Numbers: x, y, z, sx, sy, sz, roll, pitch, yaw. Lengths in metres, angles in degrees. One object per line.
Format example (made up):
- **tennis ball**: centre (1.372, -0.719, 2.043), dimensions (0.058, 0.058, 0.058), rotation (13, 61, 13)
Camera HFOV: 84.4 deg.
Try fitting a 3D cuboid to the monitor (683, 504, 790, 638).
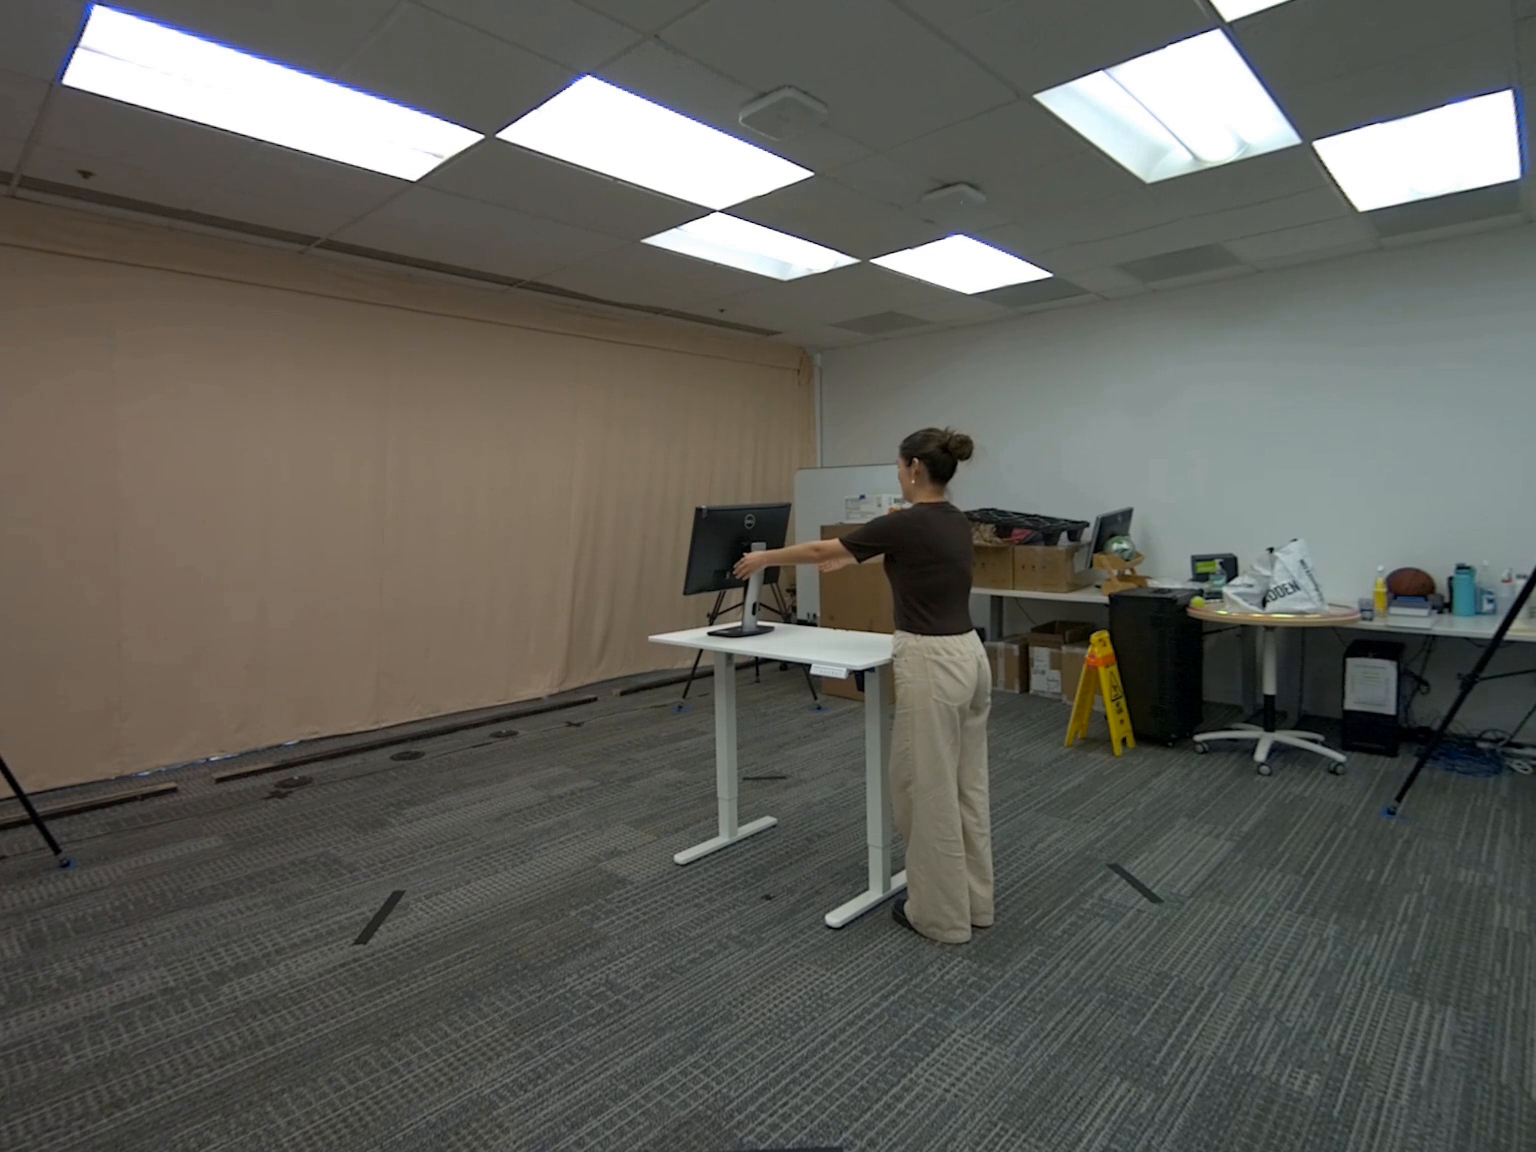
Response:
- **monitor**: centre (-0.092, -0.023, 3.358), dimensions (0.193, 0.521, 0.523), rotation (5, 8, 42)
